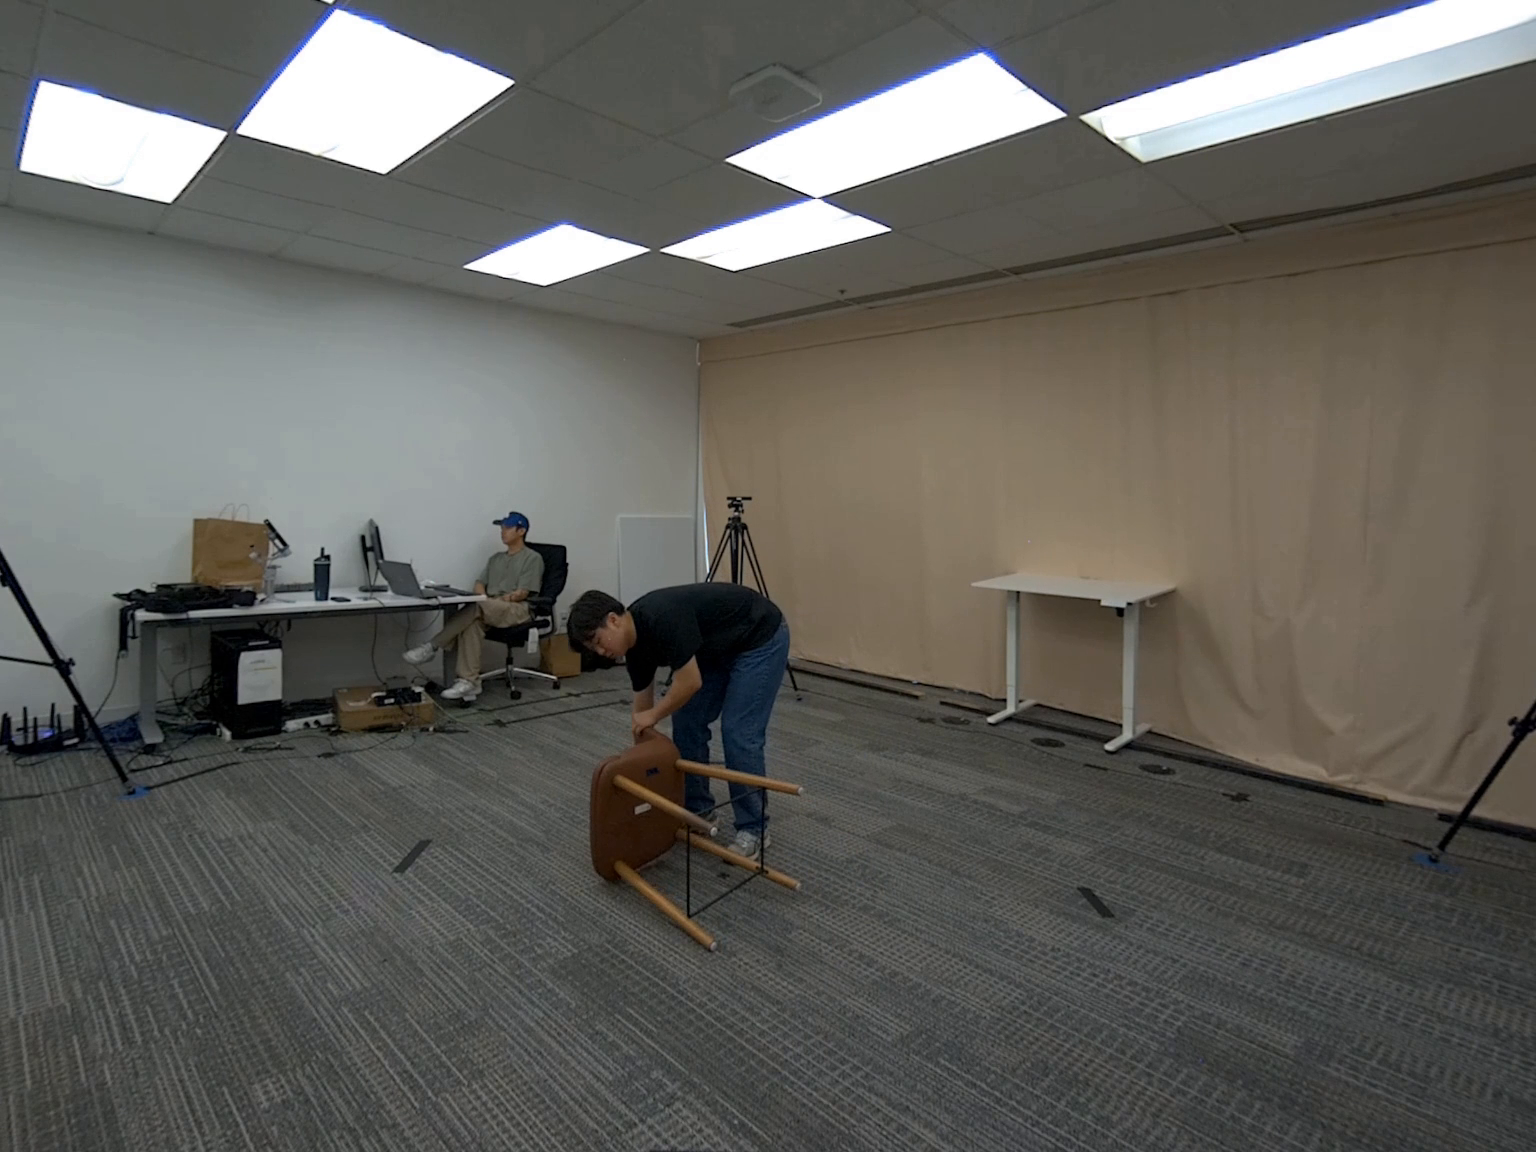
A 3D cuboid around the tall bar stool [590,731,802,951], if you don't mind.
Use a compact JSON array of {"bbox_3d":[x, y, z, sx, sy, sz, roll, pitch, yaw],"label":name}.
[{"bbox_3d":[-0.358,0.865,2.999,0.914,0.453,0.459,10,15,42],"label":"tall bar stool"}]
